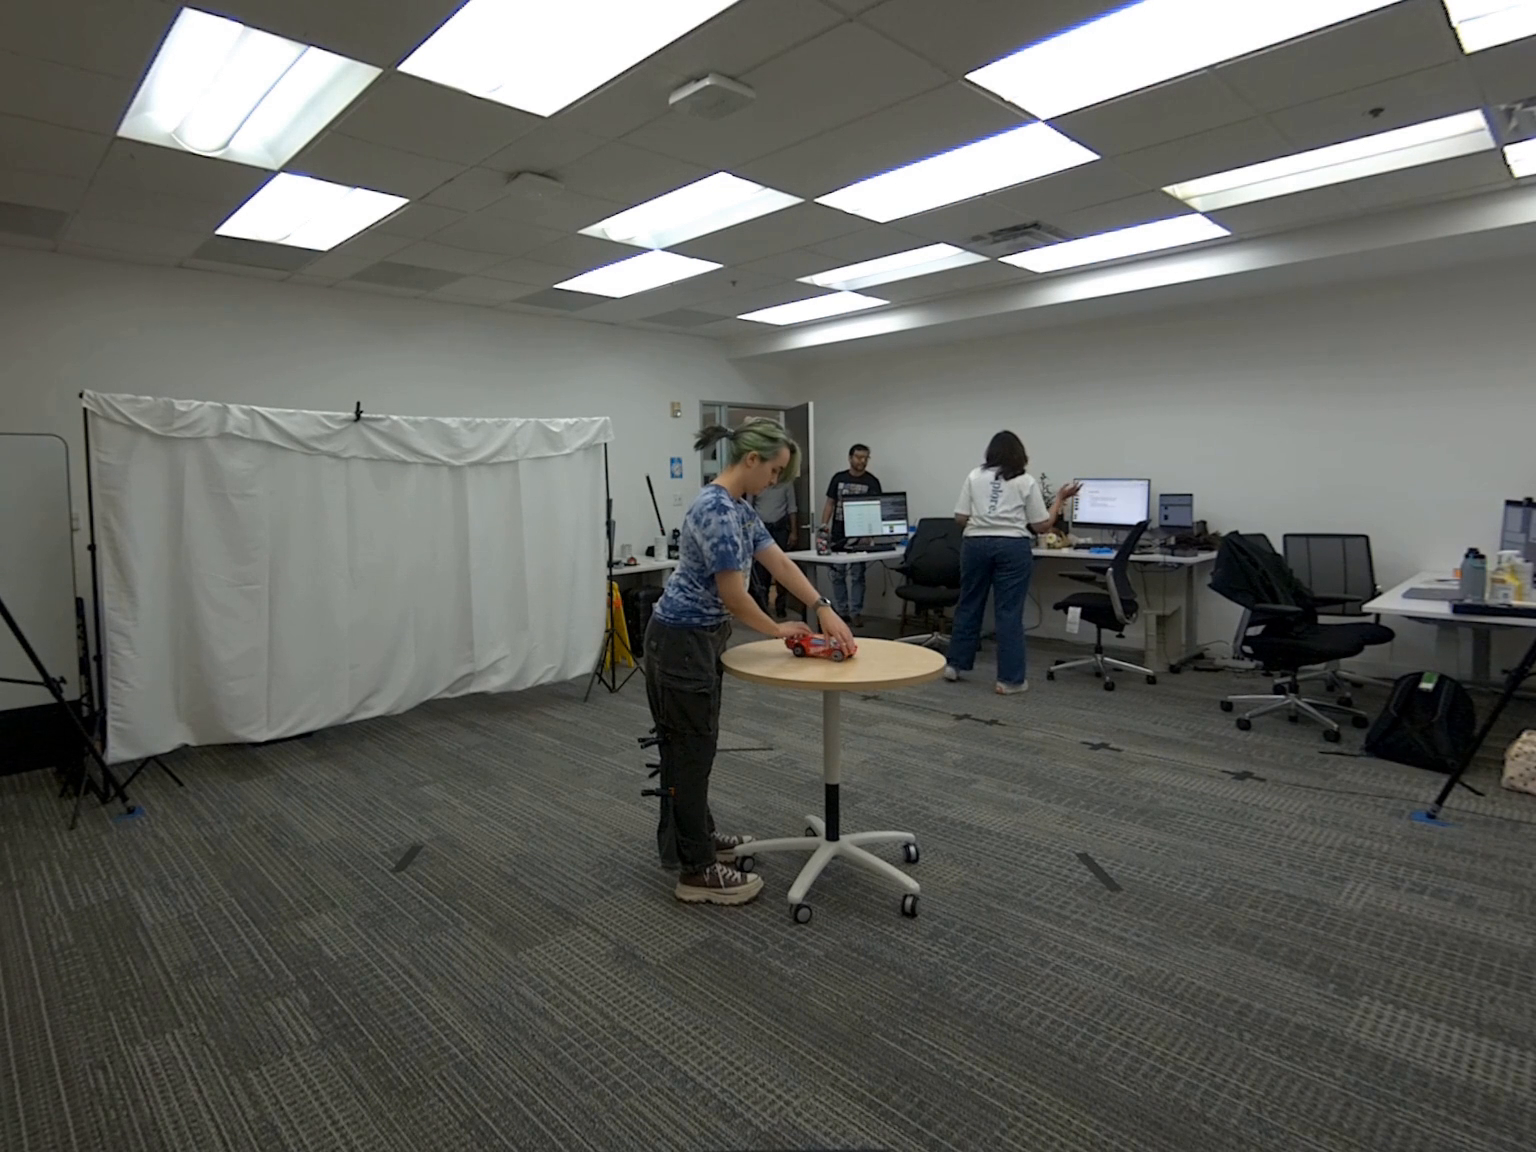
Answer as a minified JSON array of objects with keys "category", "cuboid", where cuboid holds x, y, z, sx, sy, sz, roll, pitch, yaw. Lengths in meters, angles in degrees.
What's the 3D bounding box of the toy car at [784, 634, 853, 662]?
[{"category":"toy car","cuboid":[0.176,0.247,2.941,0.263,0.082,0.127,15,13,31]}]
